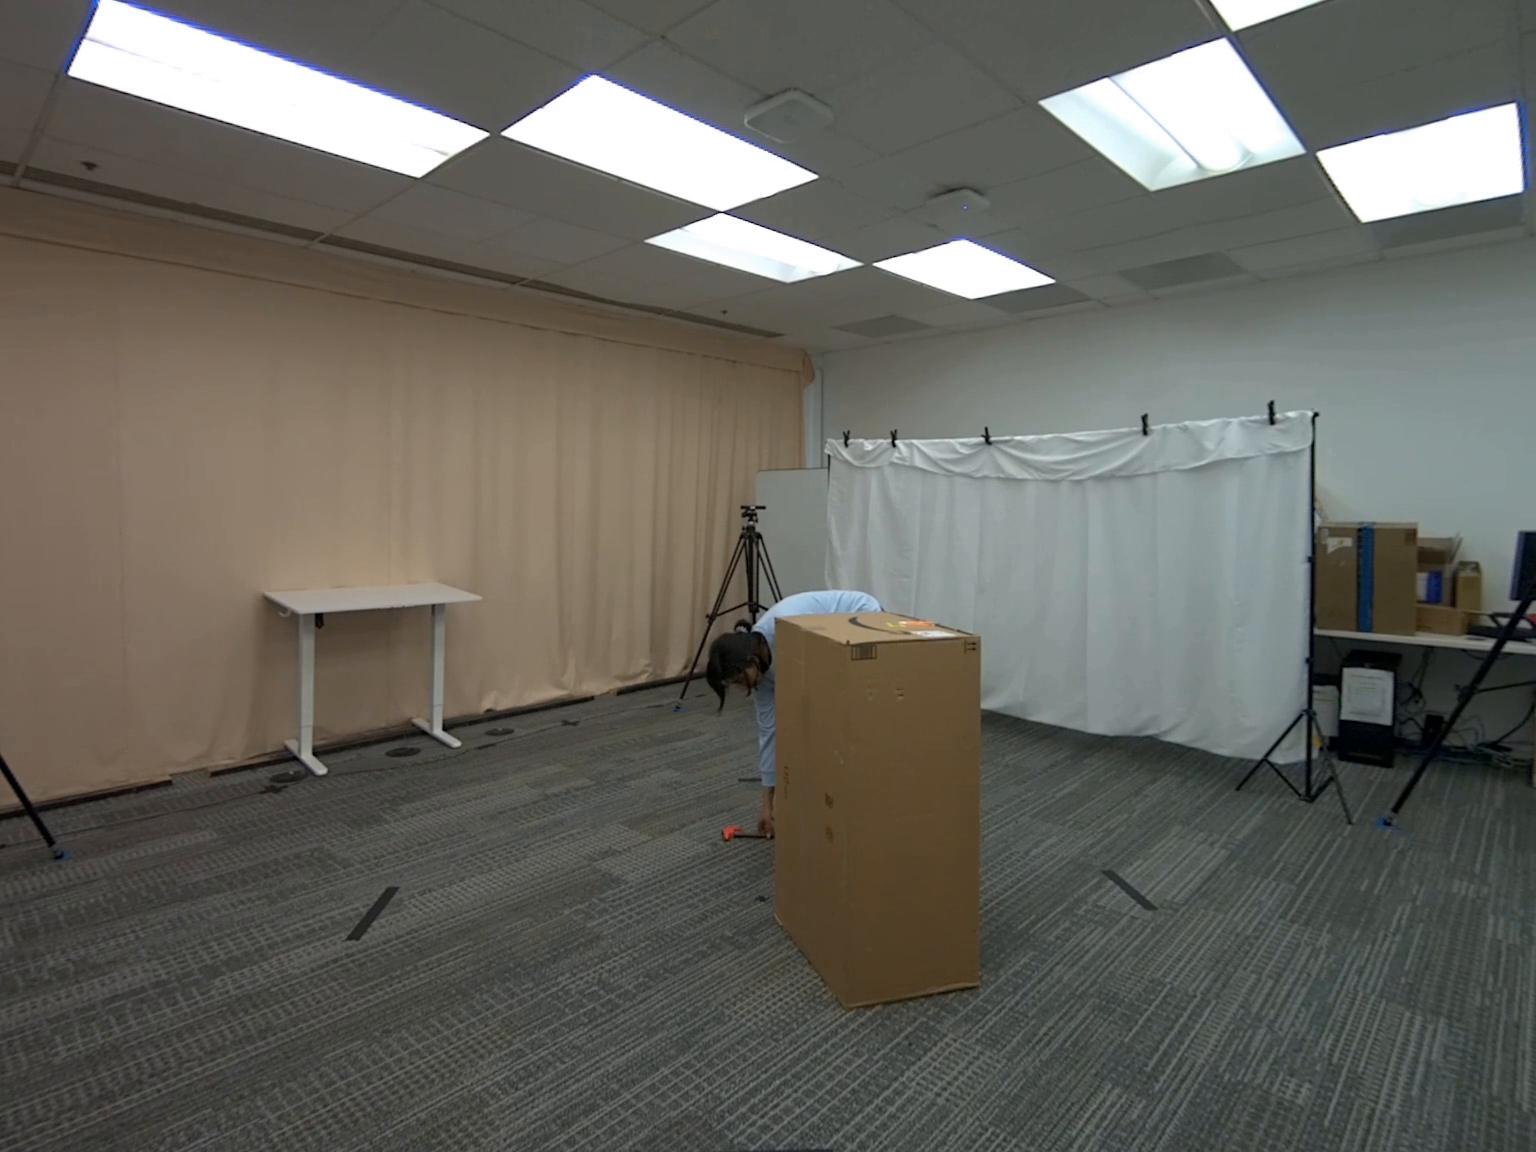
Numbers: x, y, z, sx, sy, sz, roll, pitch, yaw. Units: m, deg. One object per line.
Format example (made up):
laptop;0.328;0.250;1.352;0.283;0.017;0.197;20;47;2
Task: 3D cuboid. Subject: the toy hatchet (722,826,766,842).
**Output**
toy hatchet;-0.064;1.091;3.578;0.266;0.029;0.133;2;2;-12
